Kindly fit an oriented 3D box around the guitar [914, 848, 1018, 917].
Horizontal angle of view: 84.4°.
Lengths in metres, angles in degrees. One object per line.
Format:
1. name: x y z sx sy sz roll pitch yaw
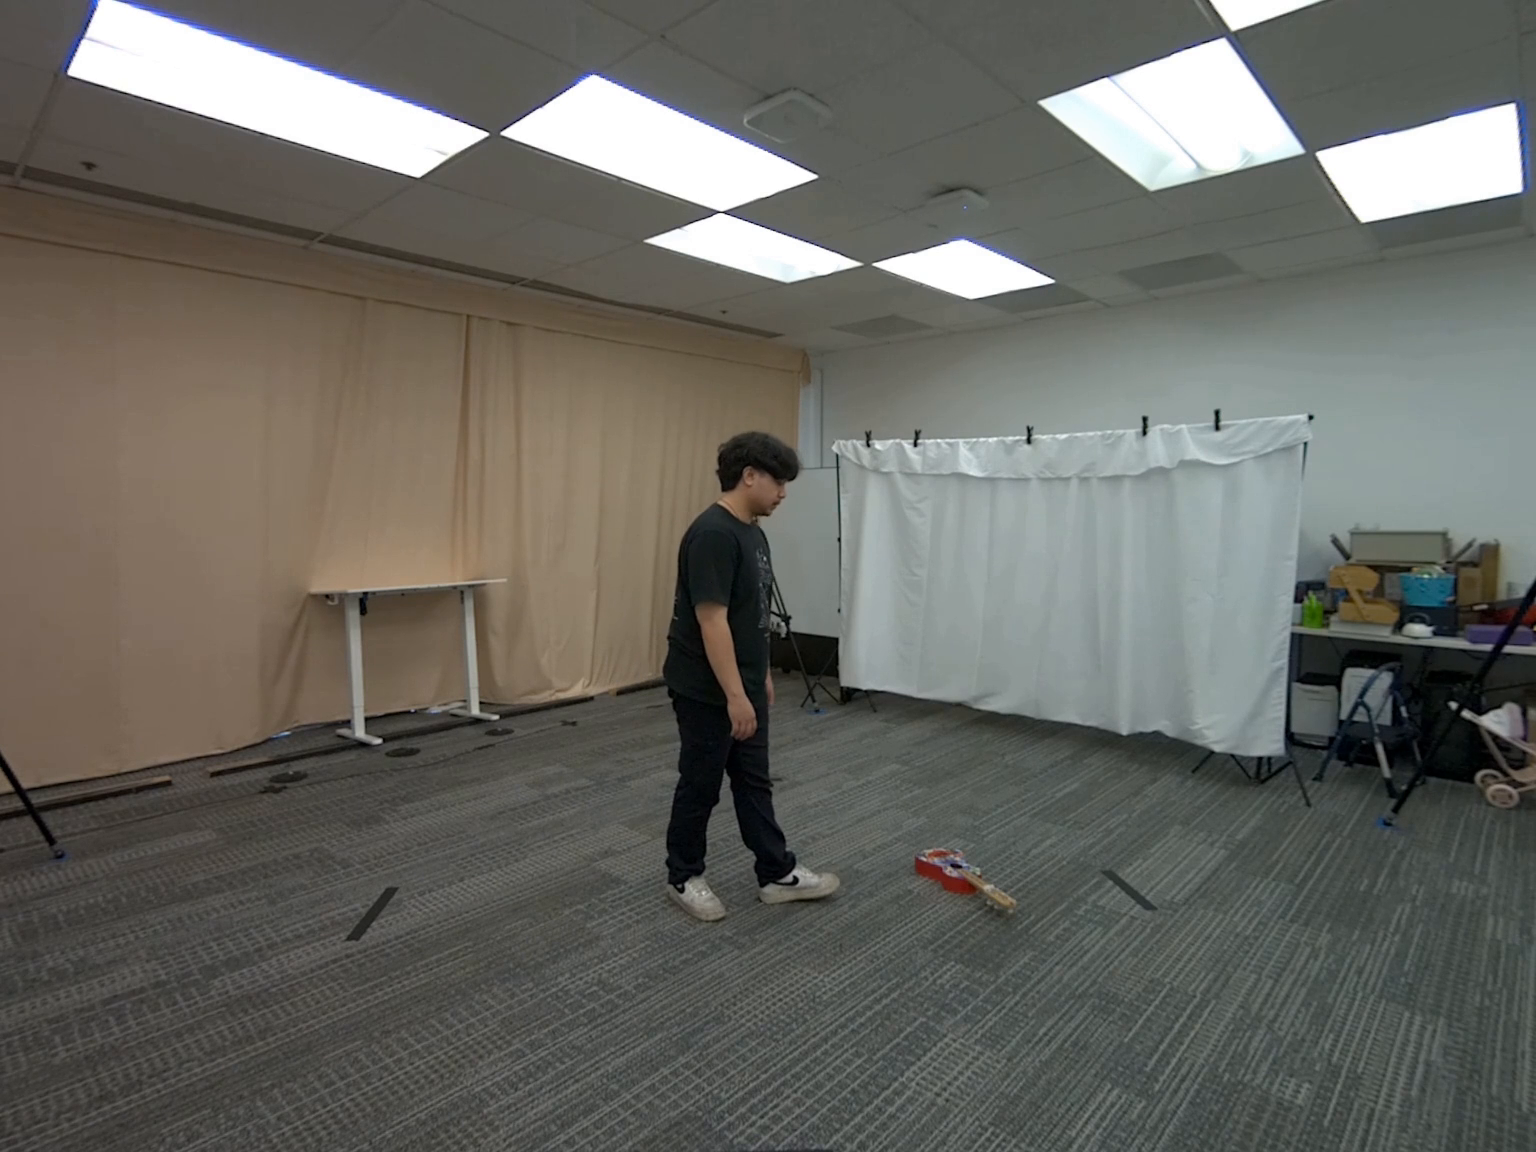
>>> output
1. guitar: 0.699 1.100 3.034 0.191 0.070 0.504 0 3 -11
